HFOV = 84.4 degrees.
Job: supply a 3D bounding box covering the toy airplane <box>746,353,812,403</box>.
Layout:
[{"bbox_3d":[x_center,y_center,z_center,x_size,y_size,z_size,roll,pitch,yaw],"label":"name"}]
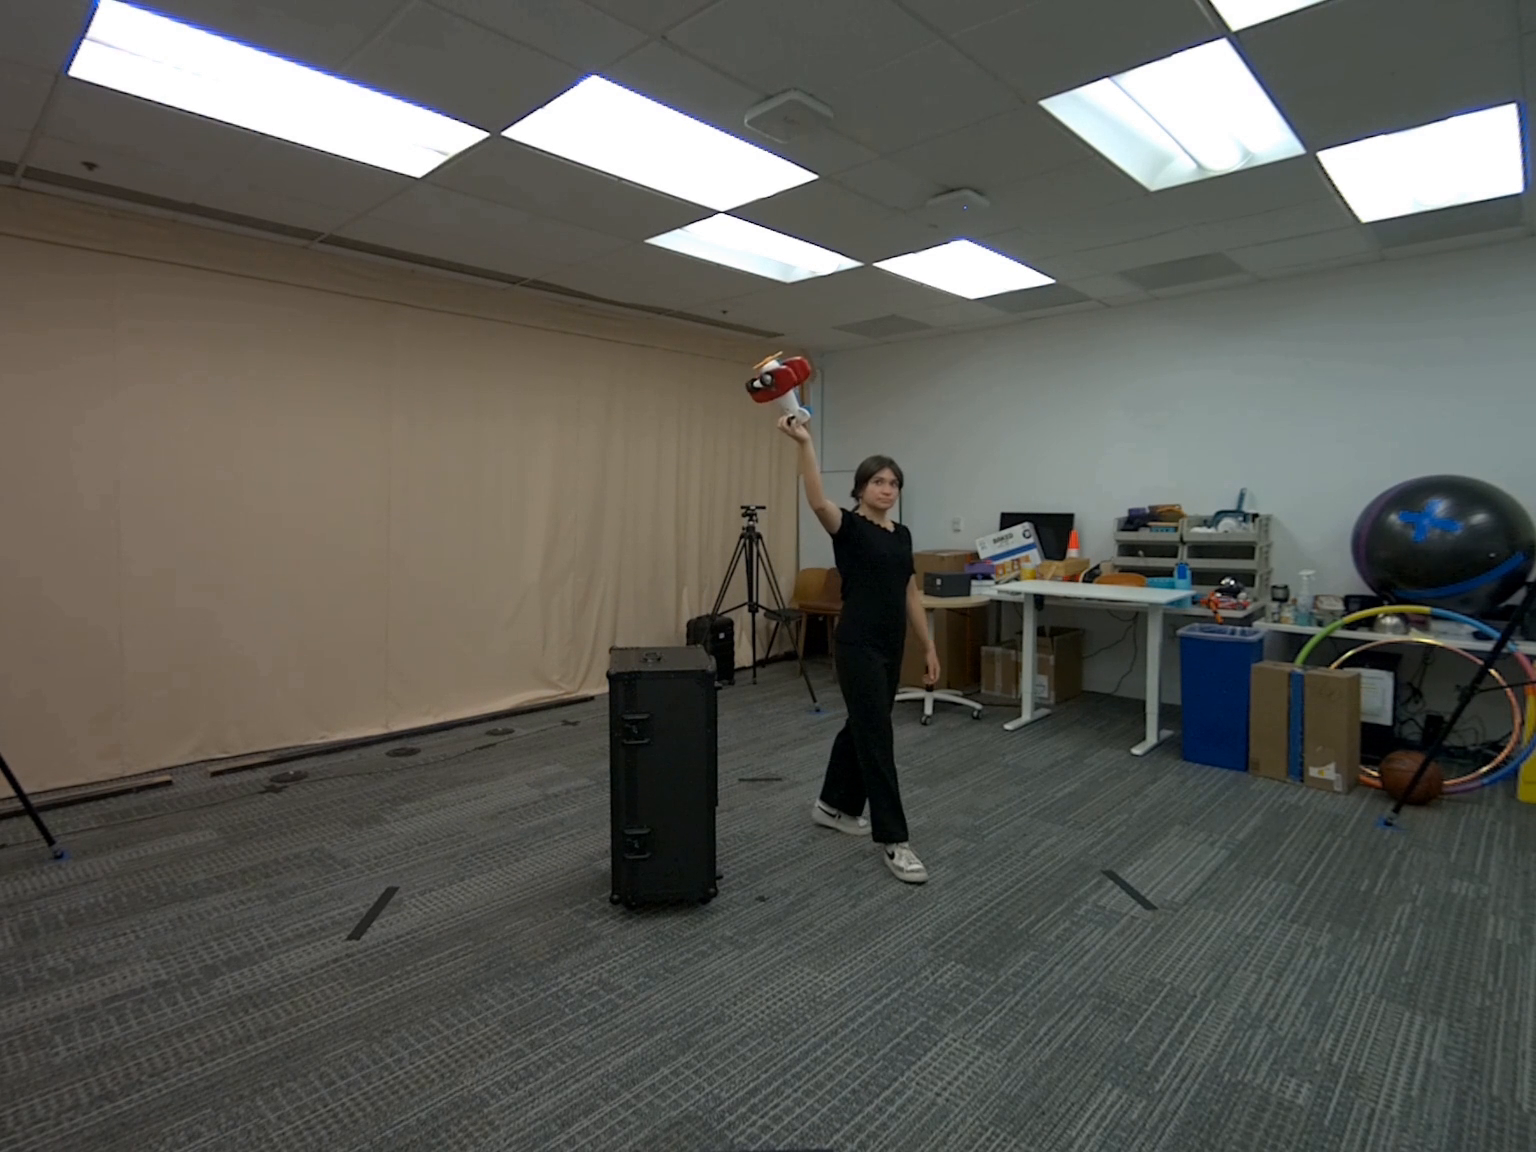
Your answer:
[{"bbox_3d":[0.038,-0.659,3.018,0.260,0.251,0.156,16,56,36],"label":"toy airplane"}]
